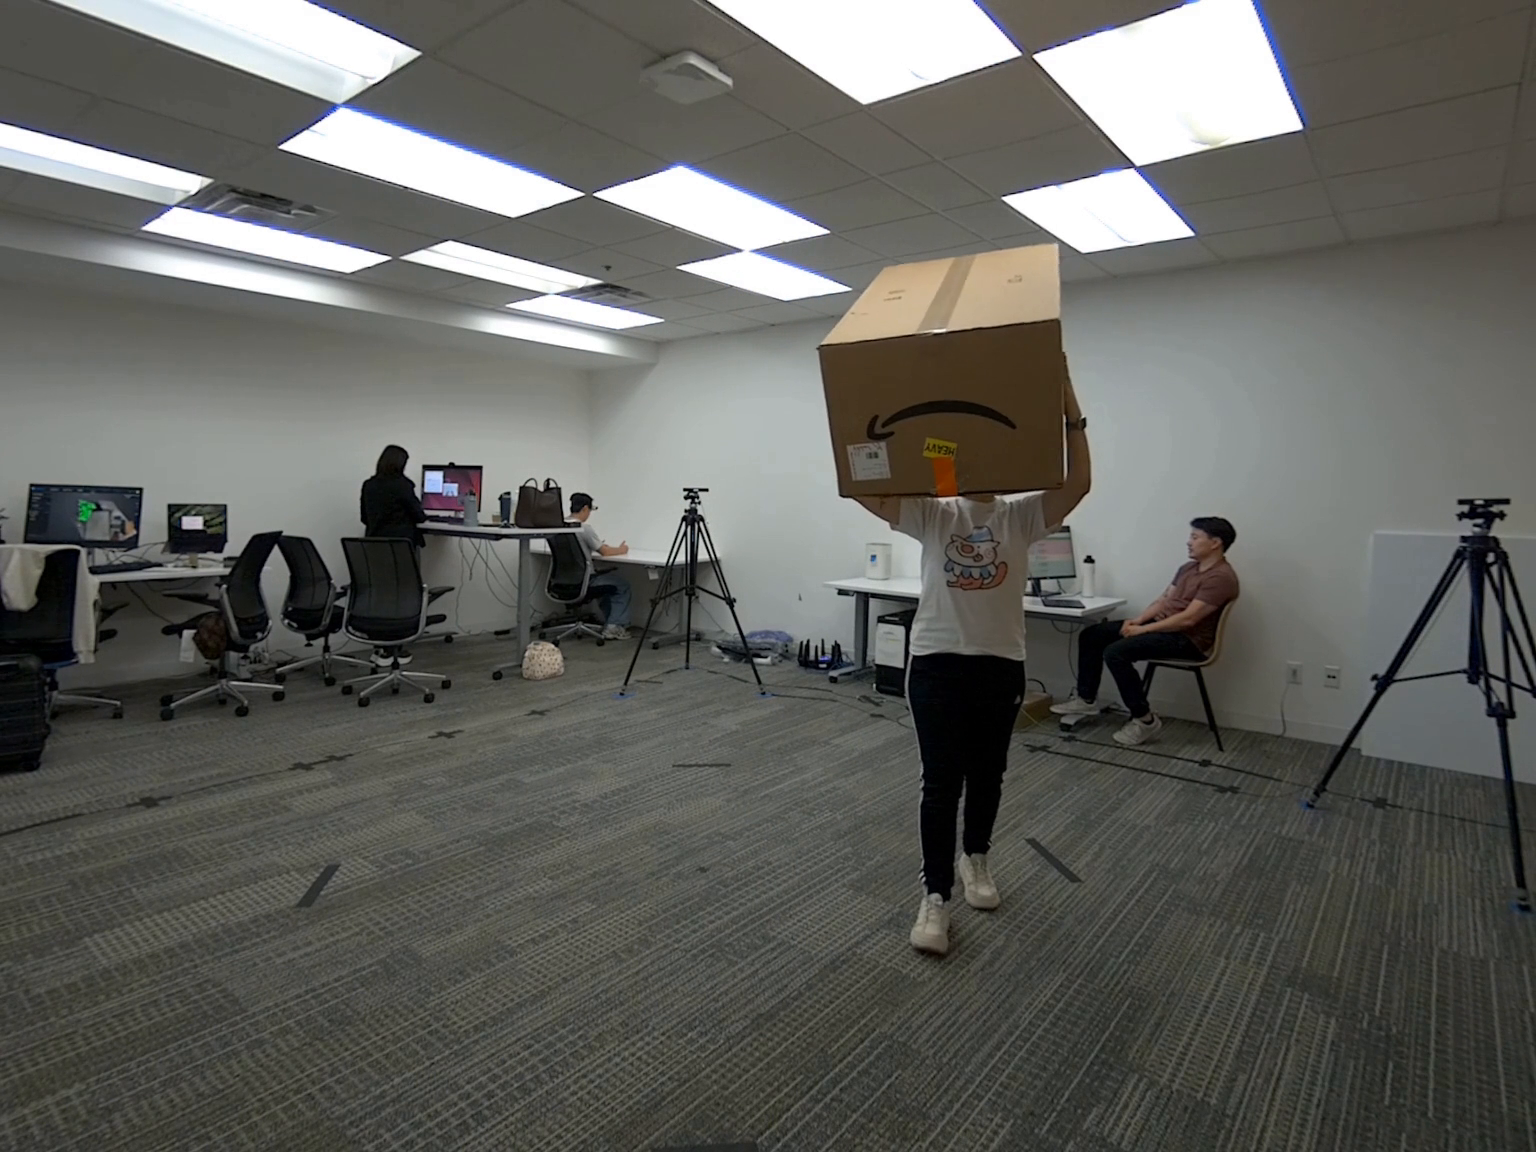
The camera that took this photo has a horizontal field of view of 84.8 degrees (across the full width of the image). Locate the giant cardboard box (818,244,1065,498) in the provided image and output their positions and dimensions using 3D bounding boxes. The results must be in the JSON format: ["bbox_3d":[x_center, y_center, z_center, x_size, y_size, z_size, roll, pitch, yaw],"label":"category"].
[{"bbox_3d":[0.560,-0.641,2.543,0.596,0.434,1.034,0,30,20],"label":"giant cardboard box"}]
